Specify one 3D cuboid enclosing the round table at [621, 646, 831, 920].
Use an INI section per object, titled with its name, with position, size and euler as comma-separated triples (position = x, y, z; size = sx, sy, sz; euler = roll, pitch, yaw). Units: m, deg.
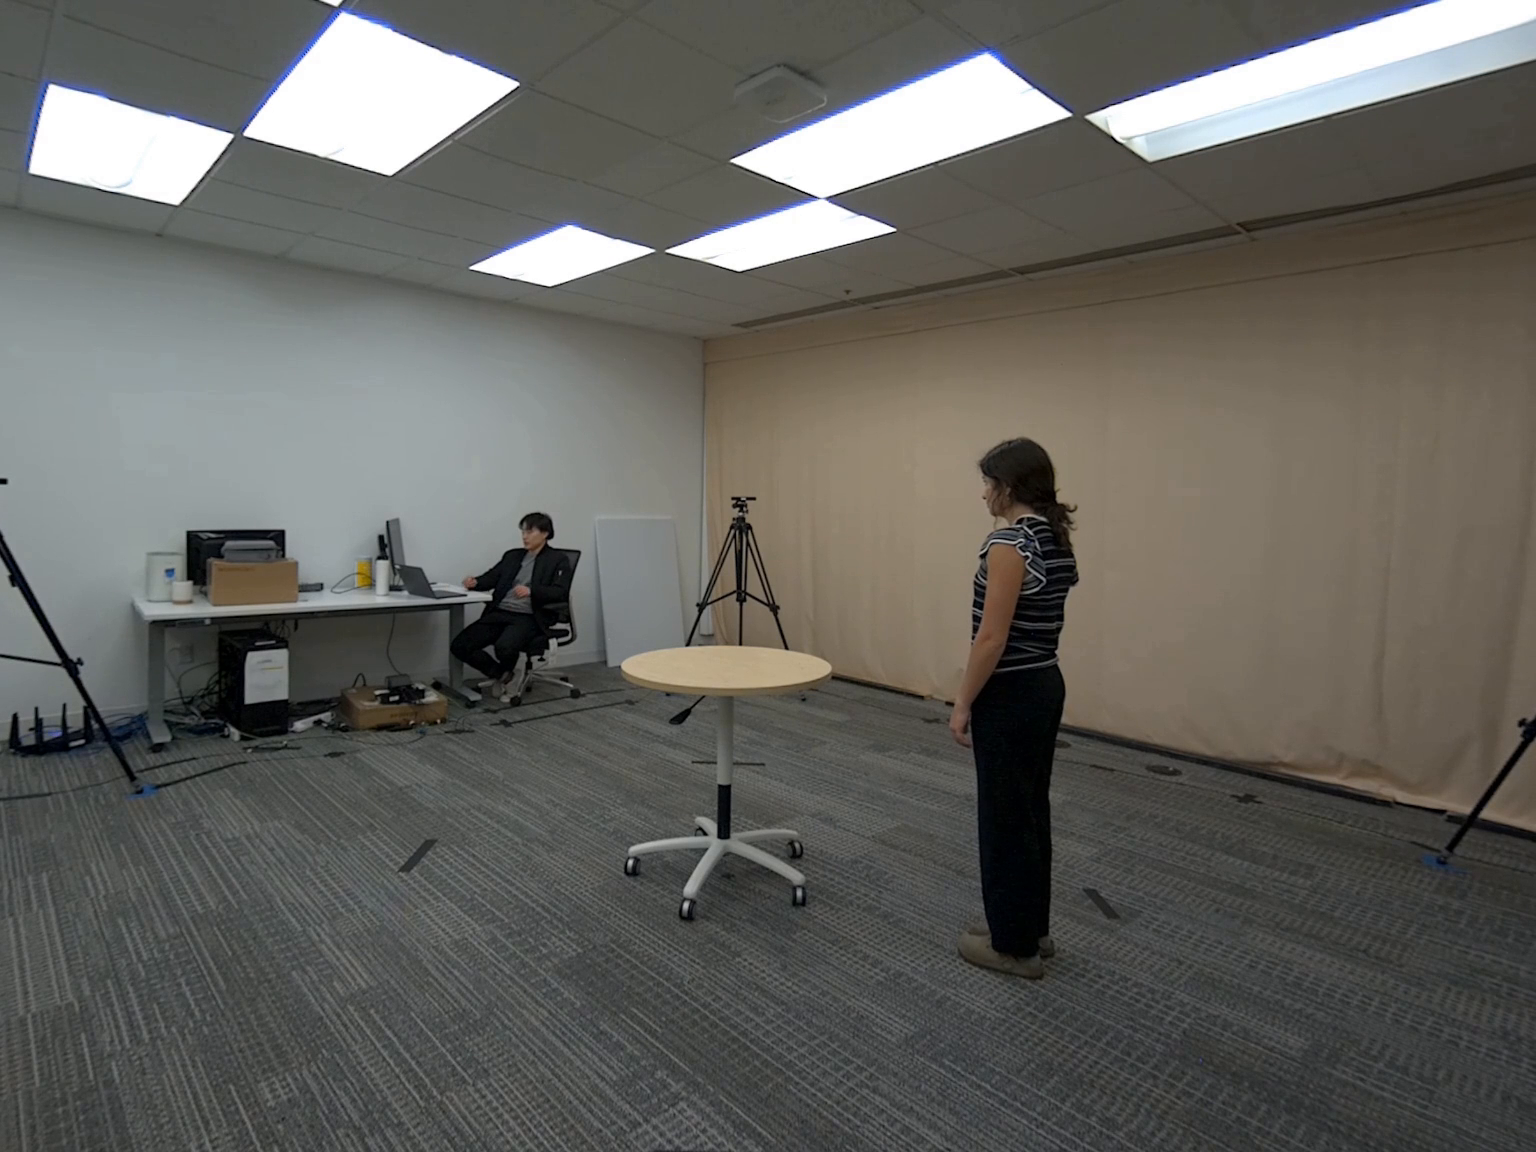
[round table]
position = -0.161, 0.717, 3.093
size = 0.763, 0.792, 0.767
euler = 1, 4, -1
